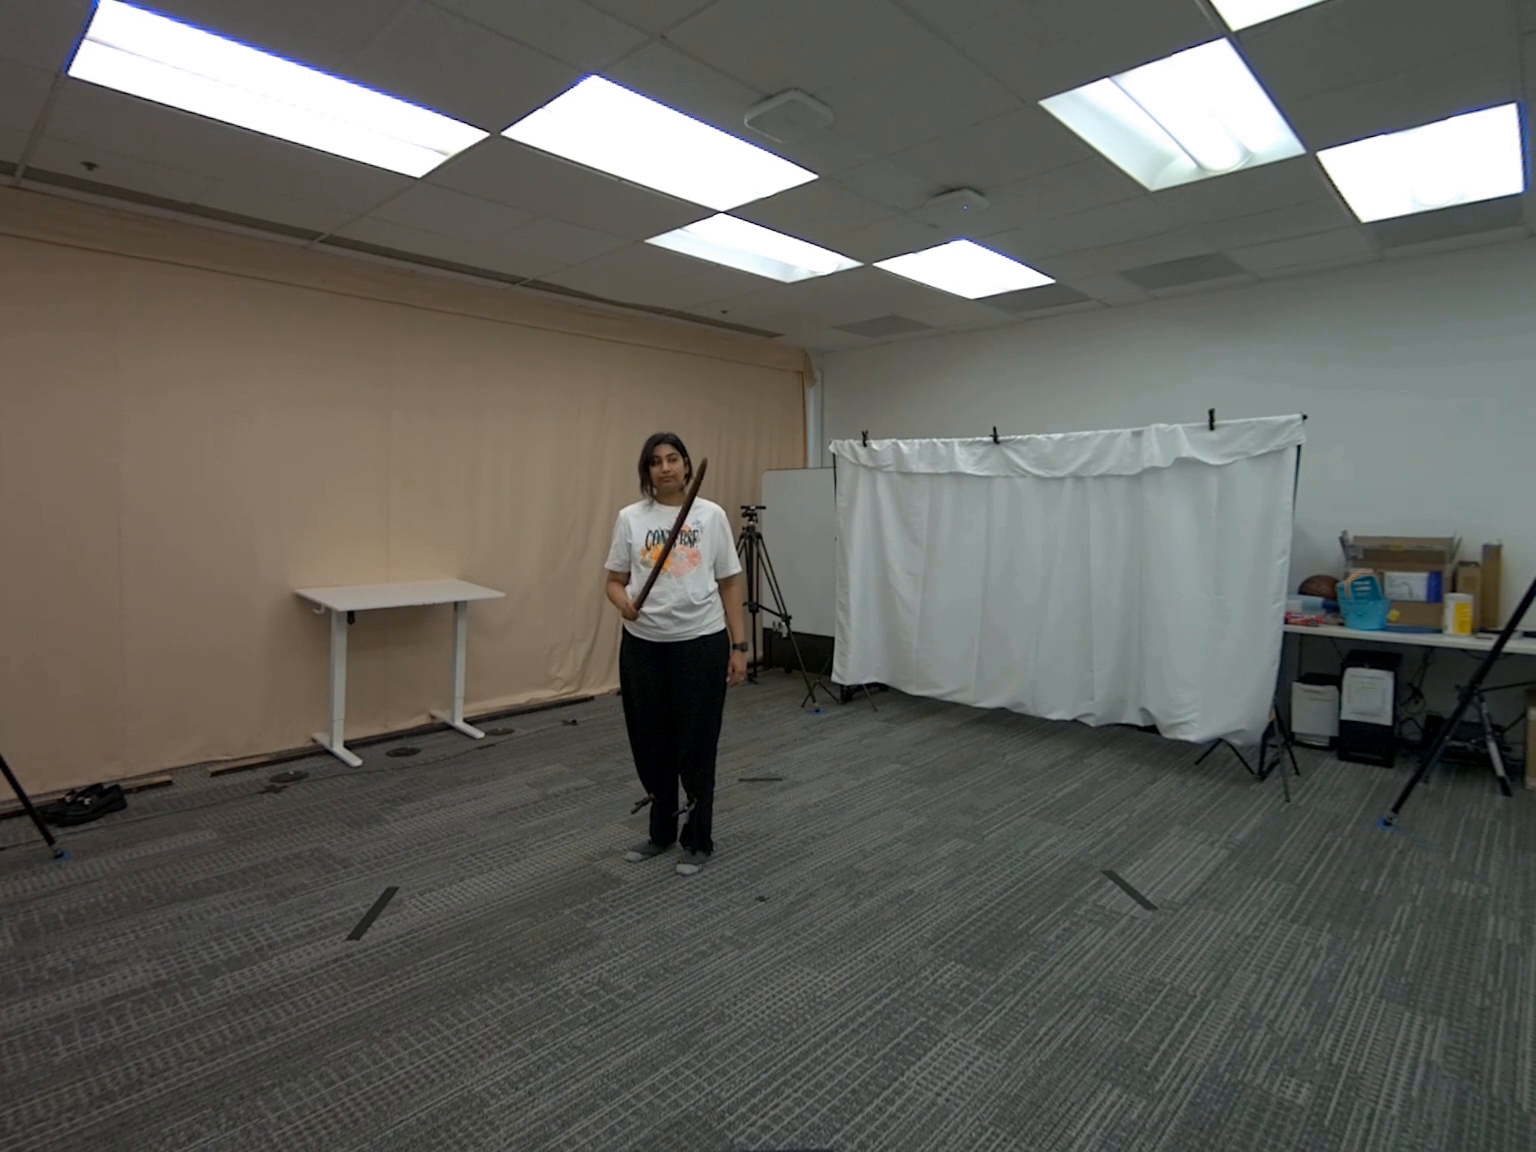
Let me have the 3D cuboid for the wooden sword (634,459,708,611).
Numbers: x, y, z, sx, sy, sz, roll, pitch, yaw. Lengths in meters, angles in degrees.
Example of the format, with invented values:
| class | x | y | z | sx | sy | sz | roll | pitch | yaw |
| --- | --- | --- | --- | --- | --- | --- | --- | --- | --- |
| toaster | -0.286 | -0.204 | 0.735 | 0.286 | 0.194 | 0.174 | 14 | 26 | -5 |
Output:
| class | x | y | z | sx | sy | sz | roll | pitch | yaw |
| --- | --- | --- | --- | --- | --- | --- | --- | --- | --- |
| wooden sword | -0.344 | -0.069 | 2.715 | 0.050 | 0.024 | 1.023 | -24 | -19 | -30 |
